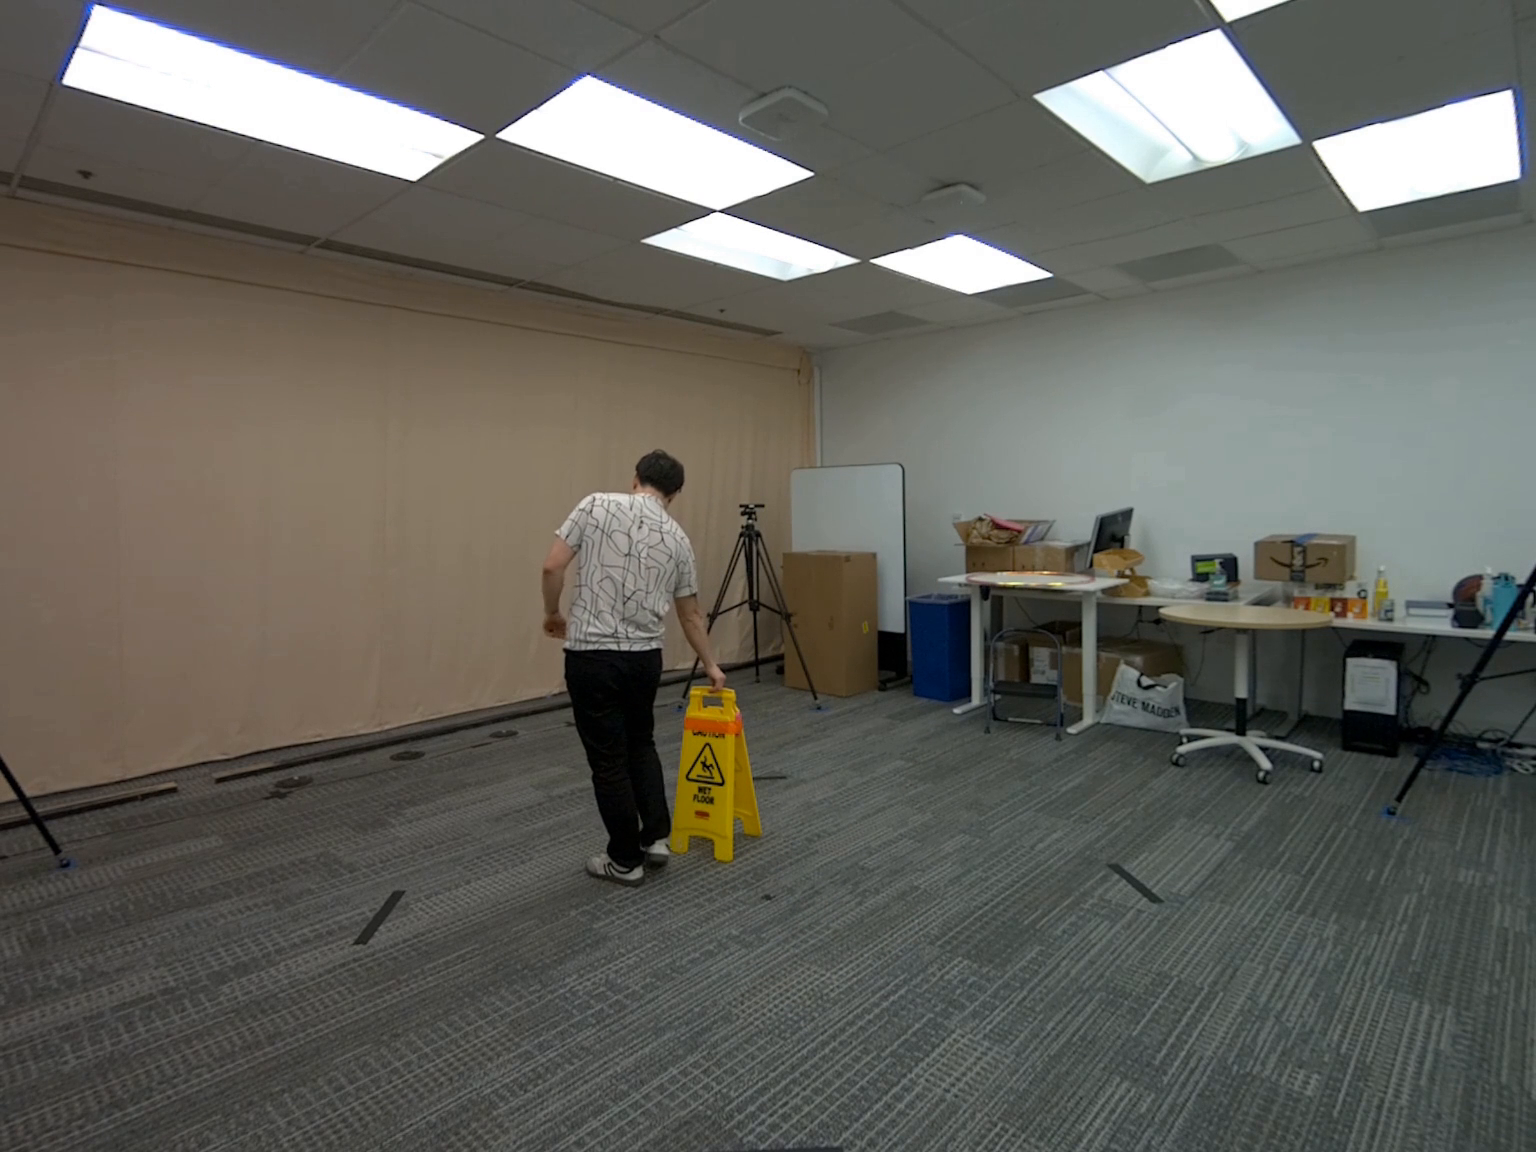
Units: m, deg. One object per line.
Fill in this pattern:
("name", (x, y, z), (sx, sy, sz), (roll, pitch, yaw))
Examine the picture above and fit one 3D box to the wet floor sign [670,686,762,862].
("wet floor sign", (-0.220, 0.778, 3.454), (0.289, 0.644, 0.283), (-1, 4, 25))
